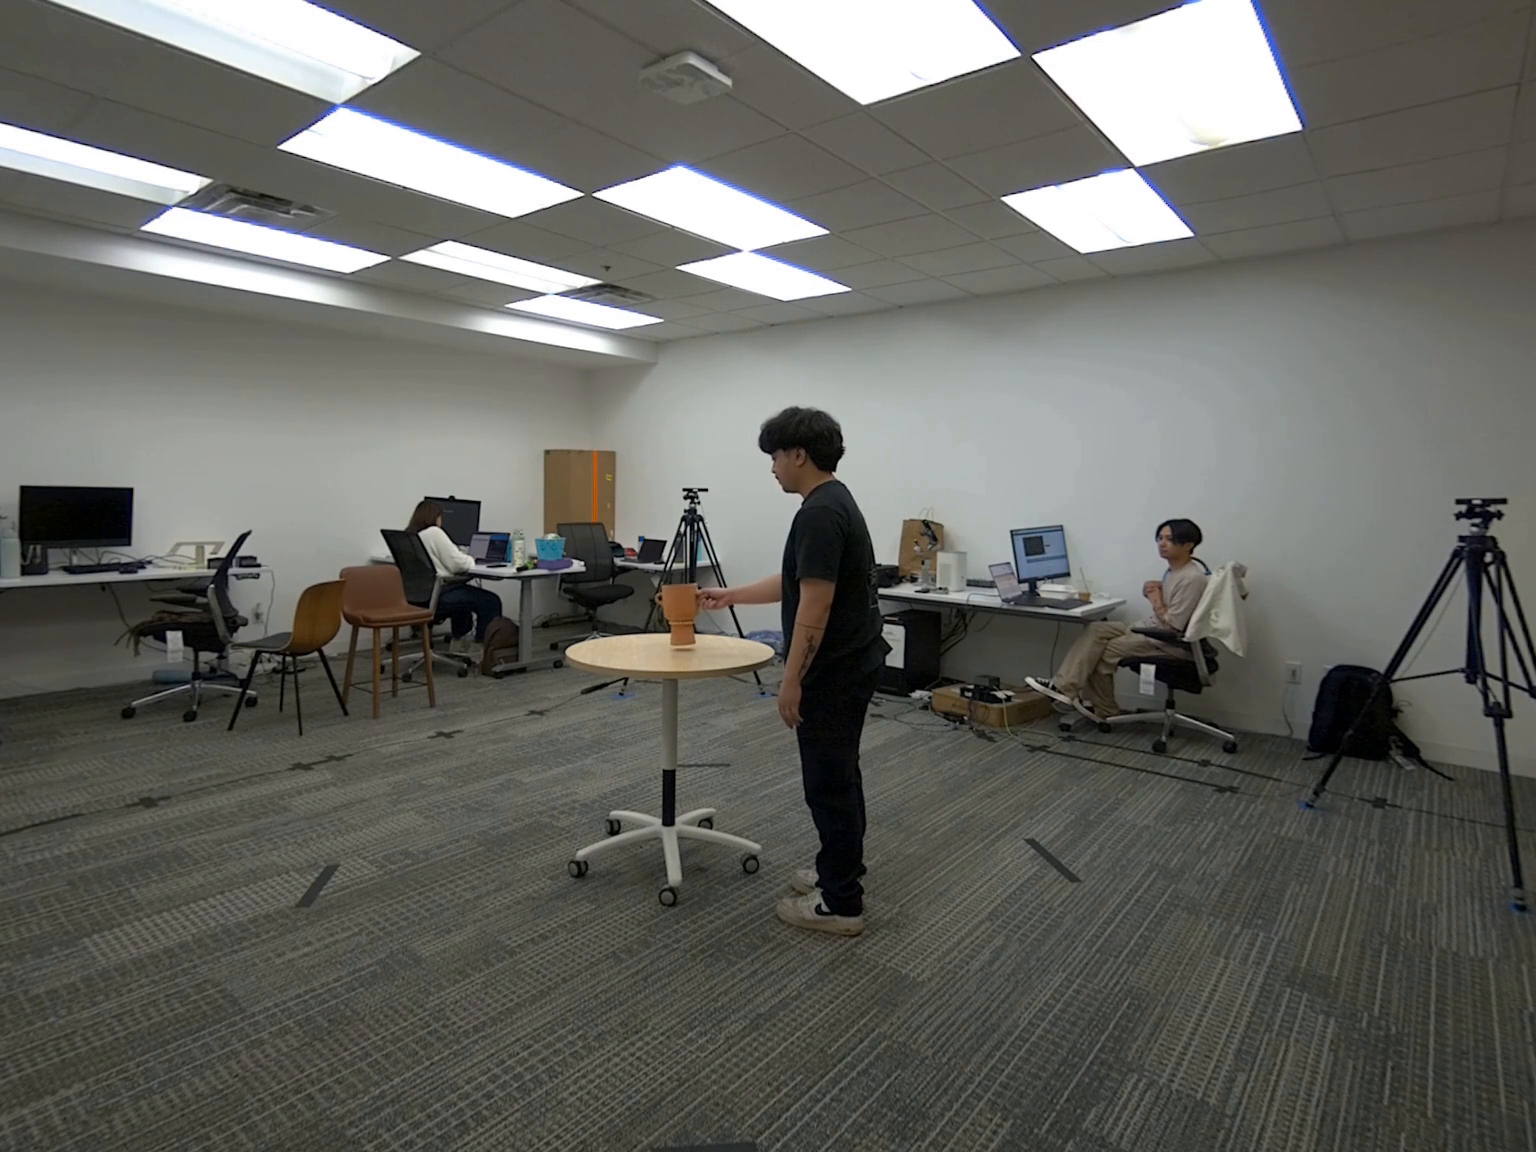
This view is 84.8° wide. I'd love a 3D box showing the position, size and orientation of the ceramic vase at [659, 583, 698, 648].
[{"bbox_3d":[-0.327,0.136,3.148,0.131,0.220,0.164,-4,1,-41],"label":"ceramic vase"}]
